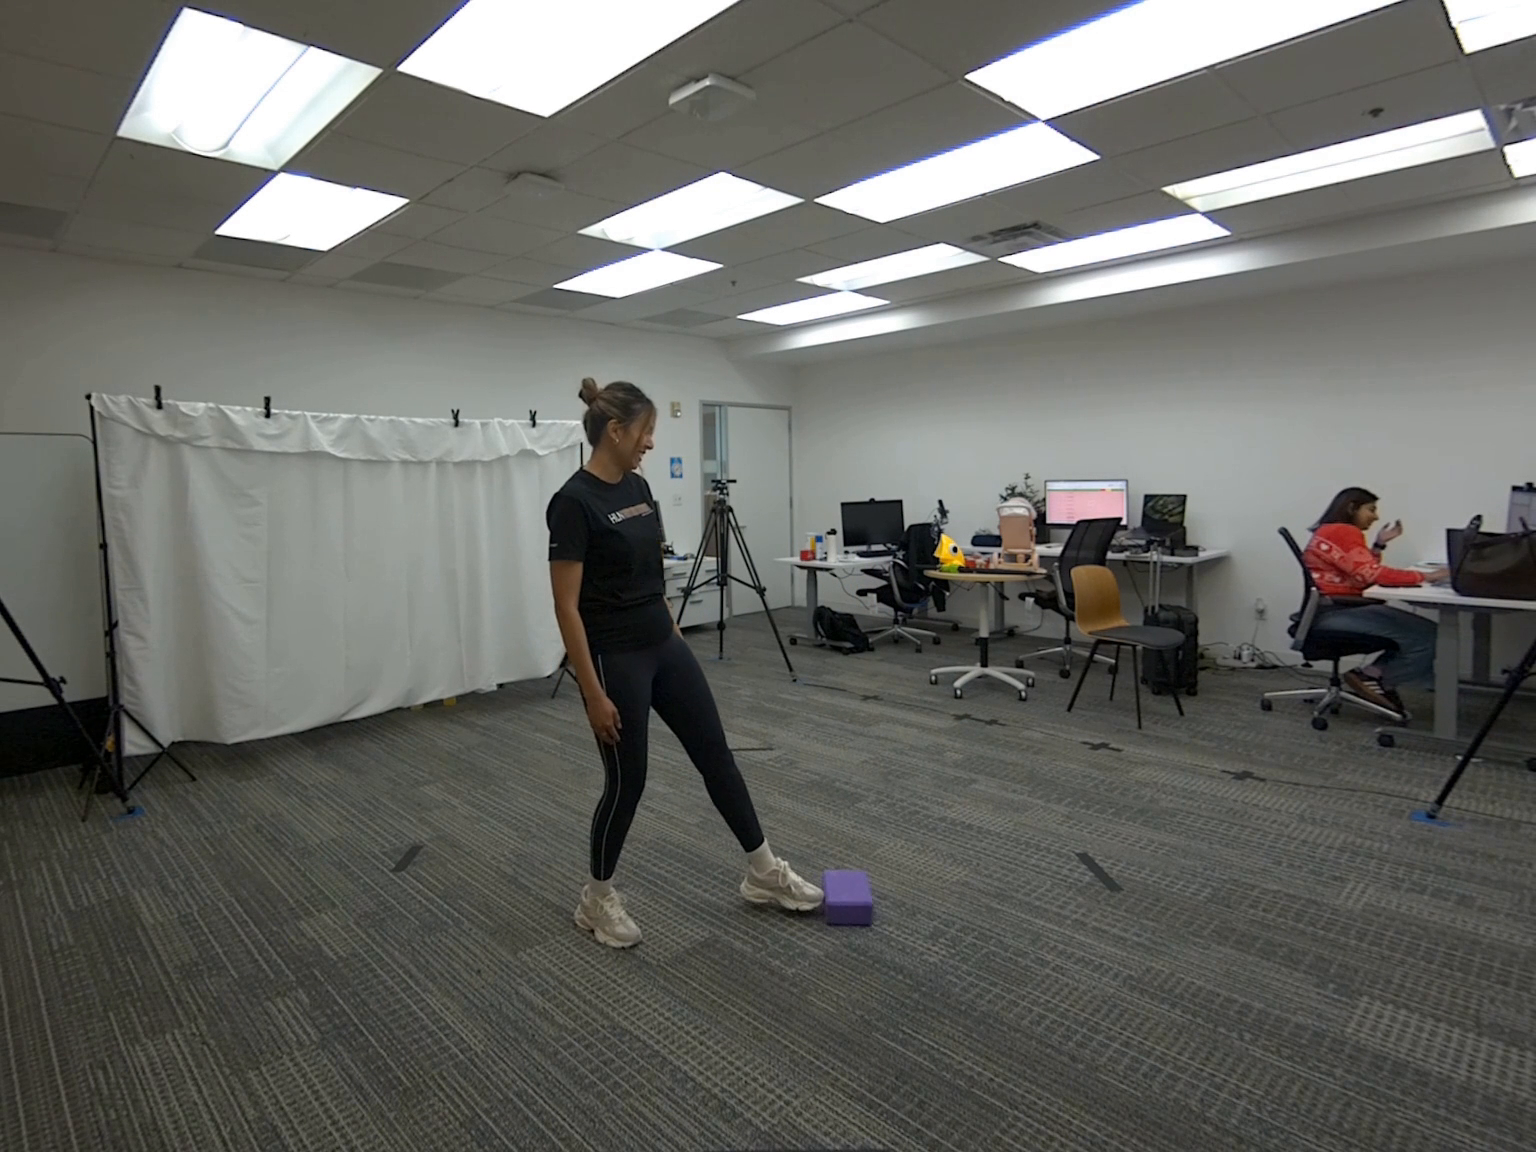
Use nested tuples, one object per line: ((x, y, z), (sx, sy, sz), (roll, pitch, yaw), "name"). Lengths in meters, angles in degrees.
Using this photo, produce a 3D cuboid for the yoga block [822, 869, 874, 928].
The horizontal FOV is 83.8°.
((0.262, 1.038, 2.768), (0.149, 0.076, 0.229), (-1, 5, 3), "yoga block")
